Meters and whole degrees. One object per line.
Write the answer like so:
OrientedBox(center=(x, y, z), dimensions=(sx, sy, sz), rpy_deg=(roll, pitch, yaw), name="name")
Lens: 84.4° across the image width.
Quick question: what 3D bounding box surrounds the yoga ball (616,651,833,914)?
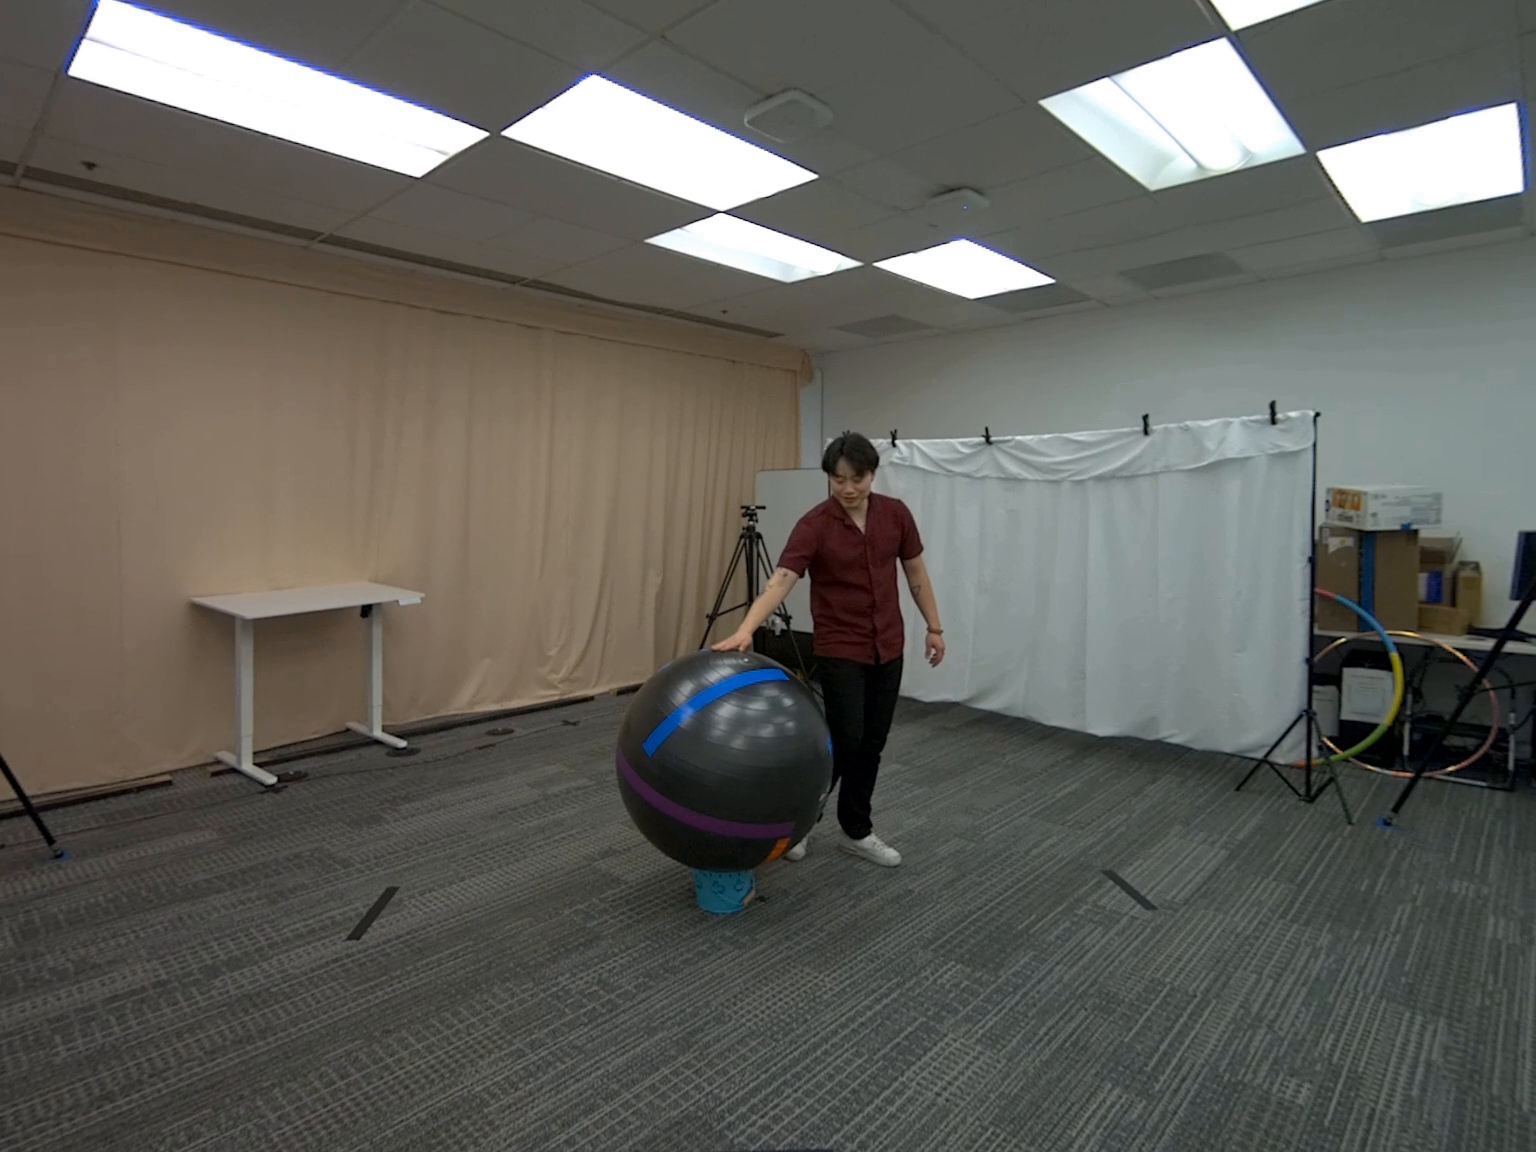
OrientedBox(center=(-0.147, 0.636, 2.947), dimensions=(0.757, 0.756, 0.760), rpy_deg=(0, 4, -2), name="yoga ball")
